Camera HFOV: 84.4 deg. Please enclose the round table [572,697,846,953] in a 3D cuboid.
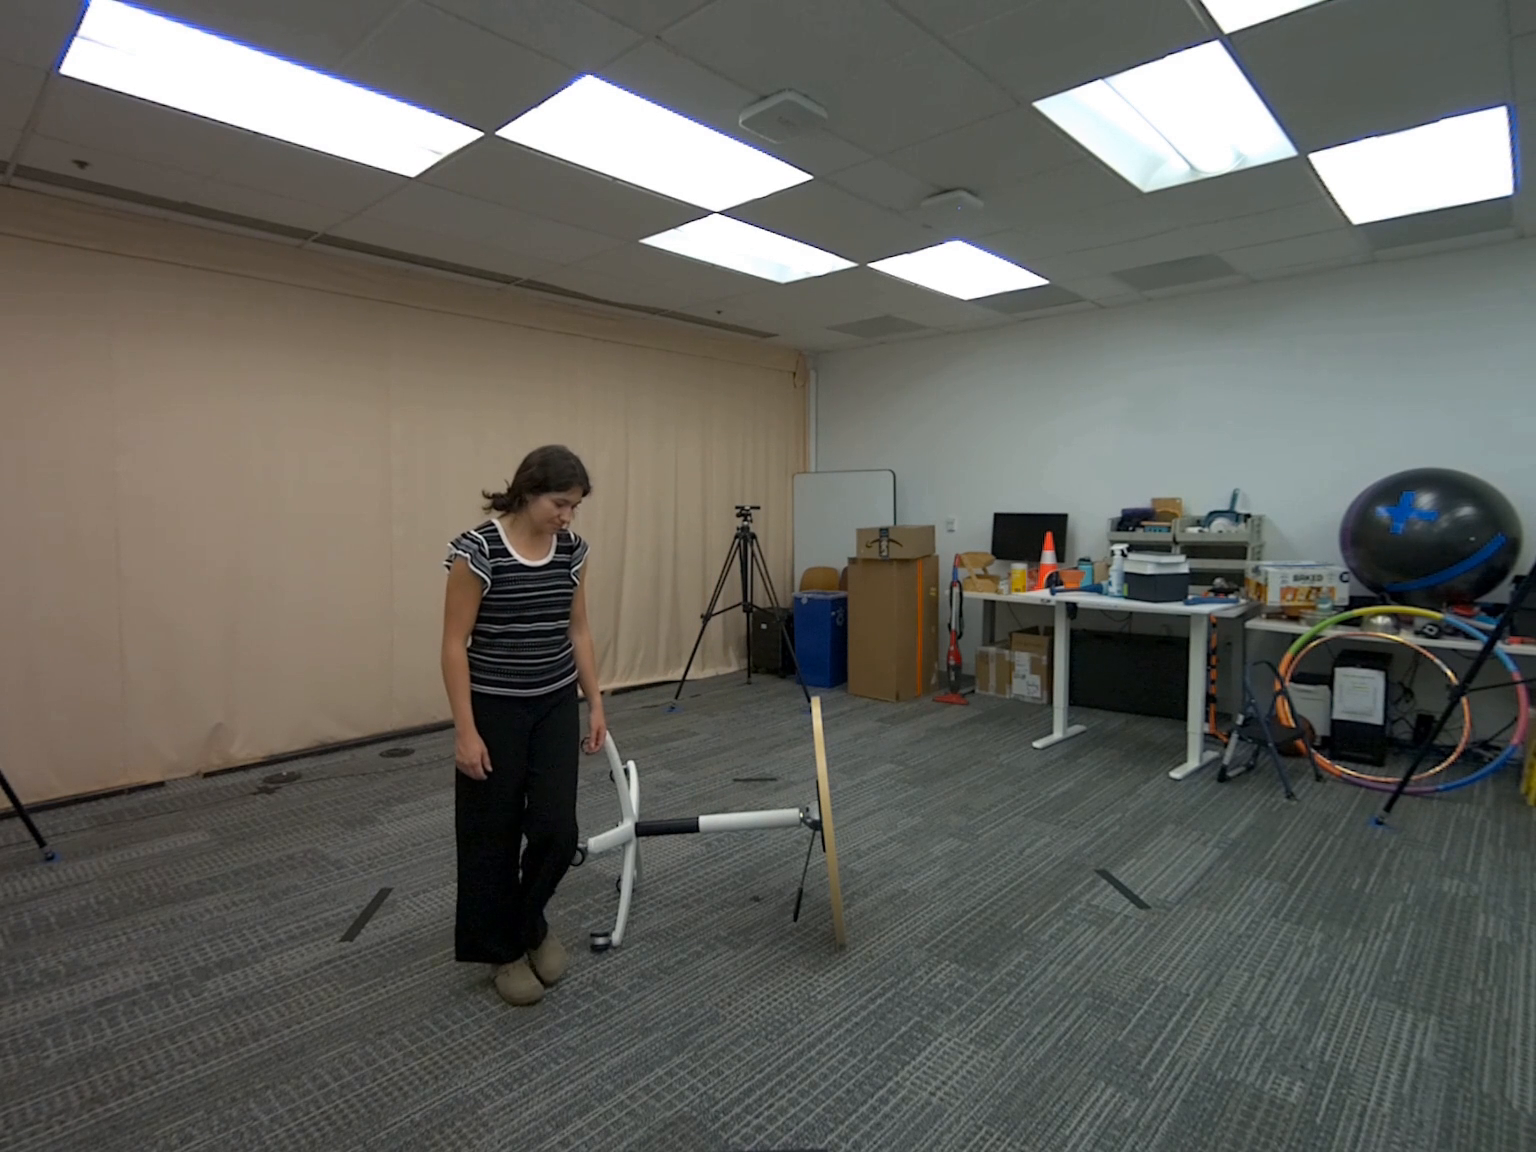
[{"bbox_3d":[-0.186,0.823,2.787,0.791,0.783,0.783,-6,3,4],"label":"round table"}]
